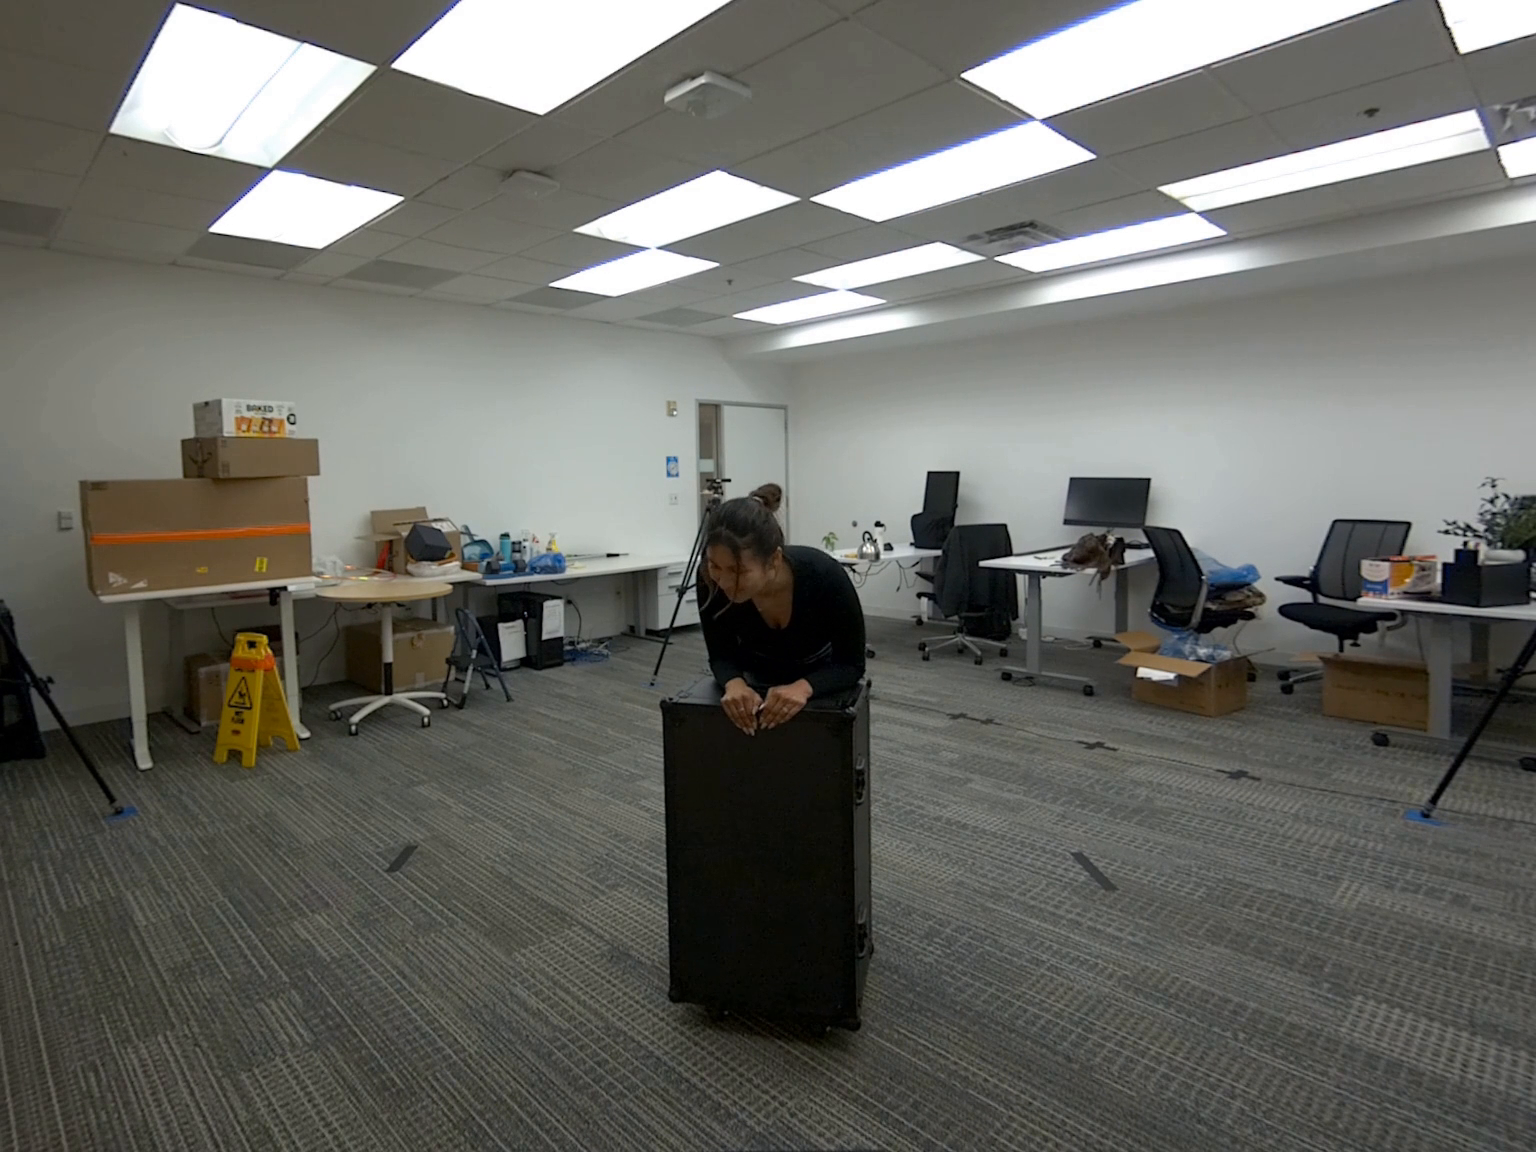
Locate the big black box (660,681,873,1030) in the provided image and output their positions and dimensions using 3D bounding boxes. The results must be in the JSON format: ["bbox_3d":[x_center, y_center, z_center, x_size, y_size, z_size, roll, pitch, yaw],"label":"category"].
[{"bbox_3d":[0.013,0.723,2.264,0.530,0.860,0.391,0,3,16],"label":"big black box"}]
